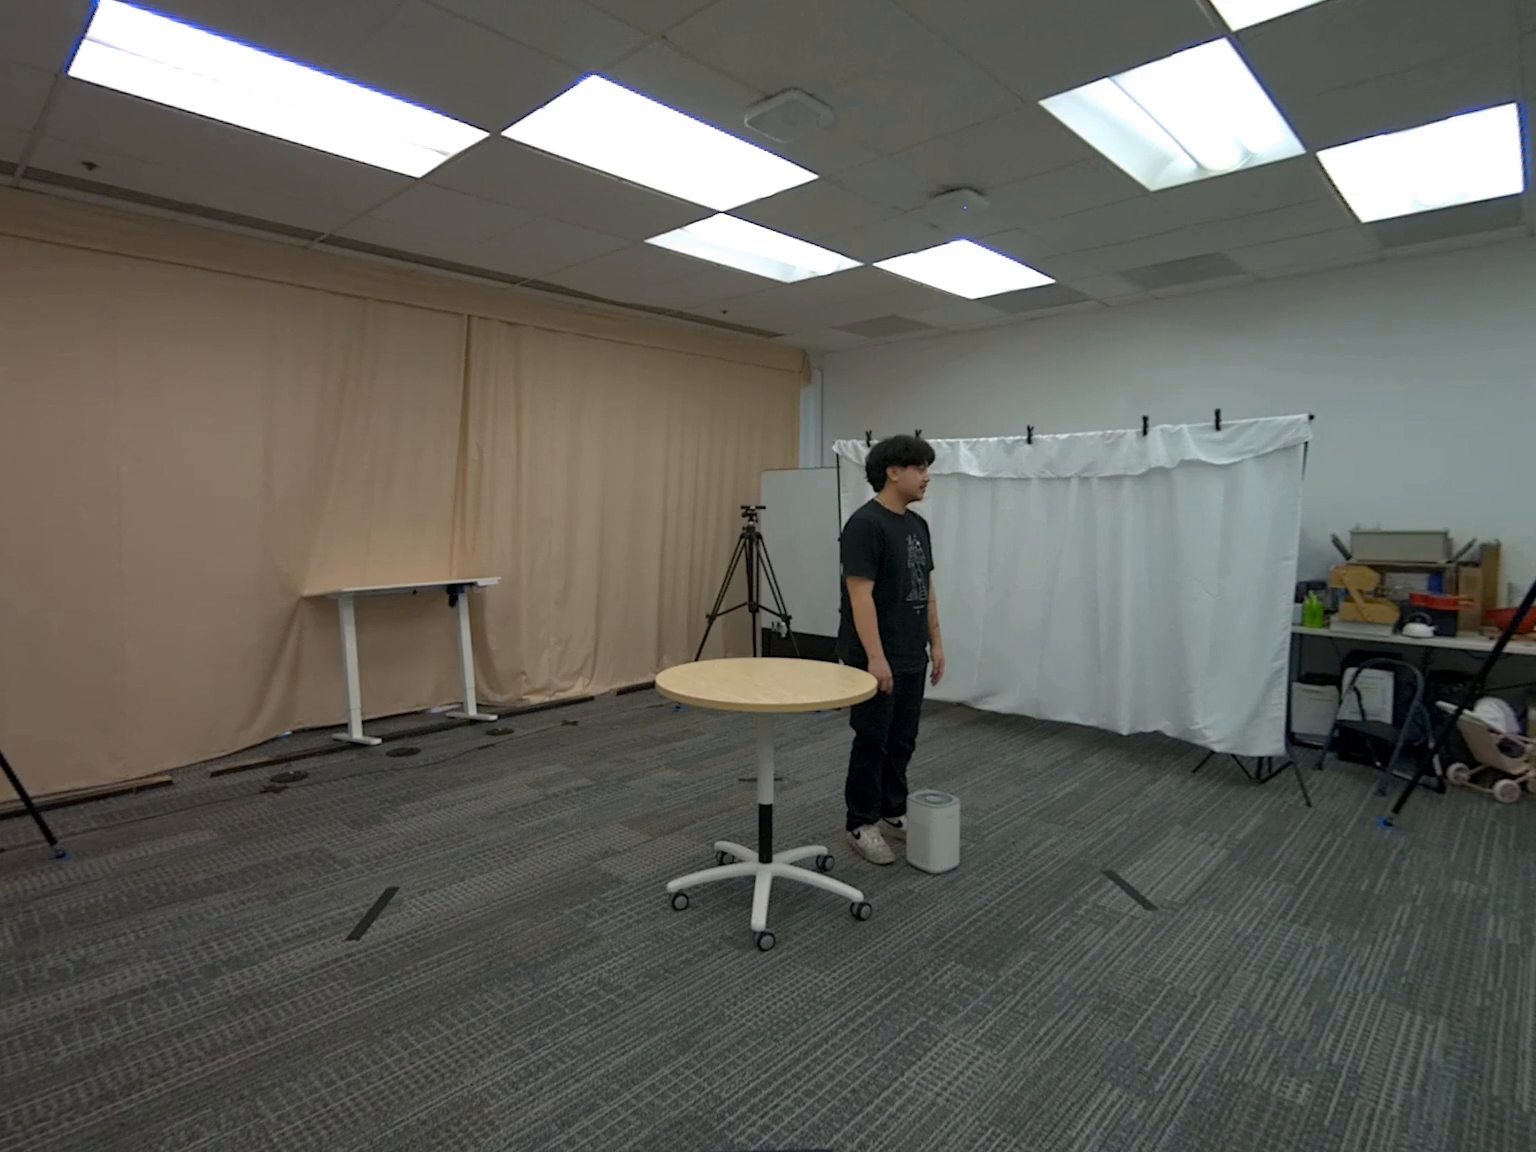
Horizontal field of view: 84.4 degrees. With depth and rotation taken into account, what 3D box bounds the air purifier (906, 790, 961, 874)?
[{"bbox_3d":[0.645,0.988,3.246,0.166,0.264,0.177,-3,6,-38],"label":"air purifier"}]
